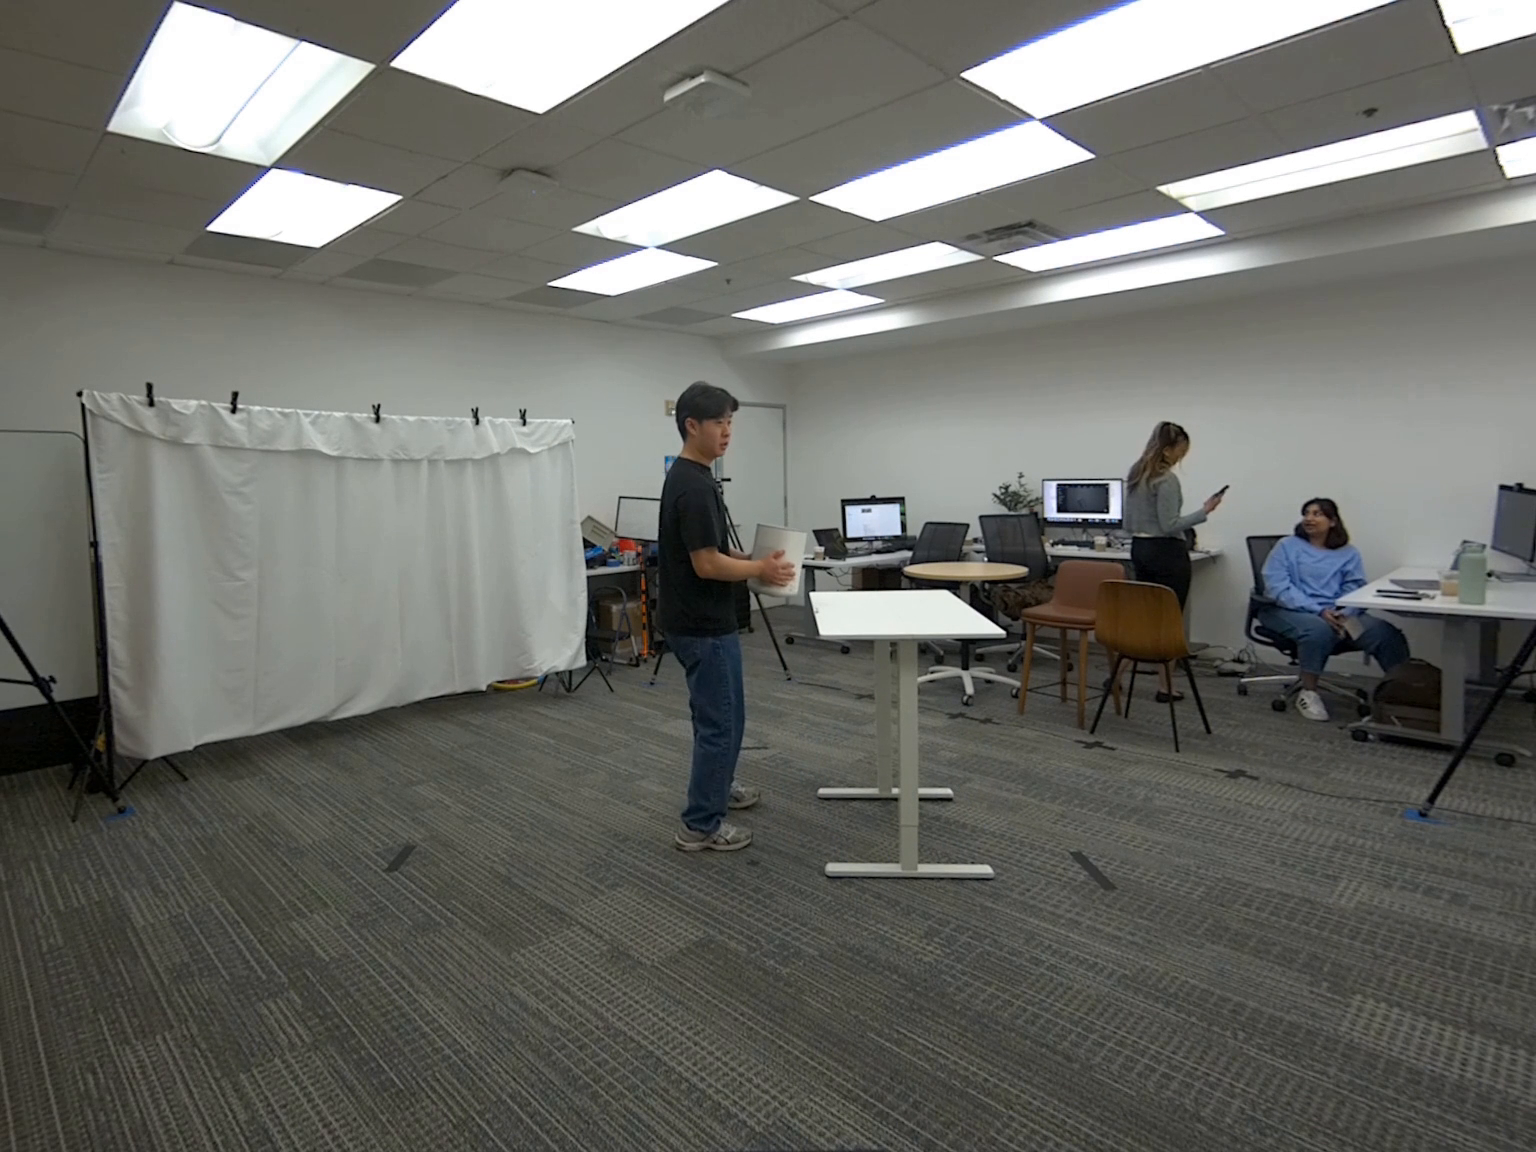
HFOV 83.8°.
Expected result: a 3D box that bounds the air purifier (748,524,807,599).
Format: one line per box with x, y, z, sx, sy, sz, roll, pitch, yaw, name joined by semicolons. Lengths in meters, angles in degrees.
0.028;-0.060;3.309;0.177;0.265;0.166;10;3;30;air purifier
